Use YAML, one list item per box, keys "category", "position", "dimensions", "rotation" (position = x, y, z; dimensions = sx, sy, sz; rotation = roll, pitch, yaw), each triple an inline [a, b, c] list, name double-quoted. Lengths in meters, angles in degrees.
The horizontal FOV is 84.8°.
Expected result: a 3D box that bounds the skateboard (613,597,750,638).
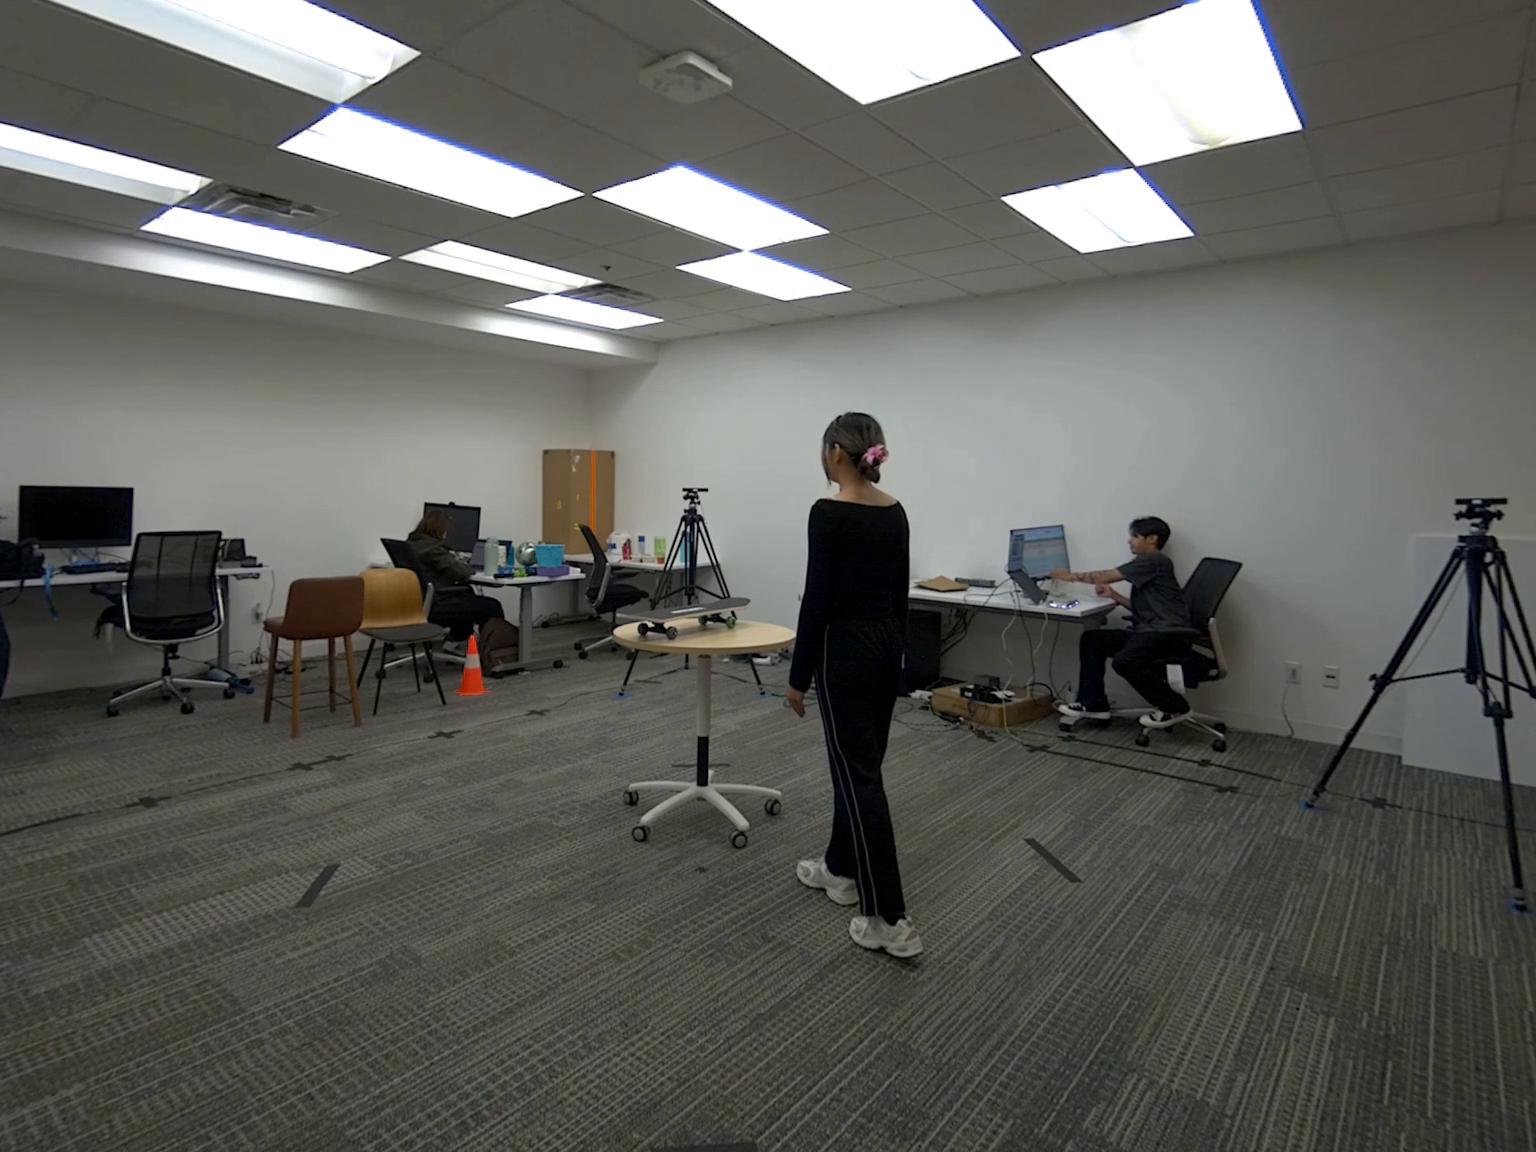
- category: "skateboard"
  position: [-0.348, 0.181, 3.576]
  dimensions: [0.199, 0.110, 0.764]
  rotation: [2, 5, 34]
